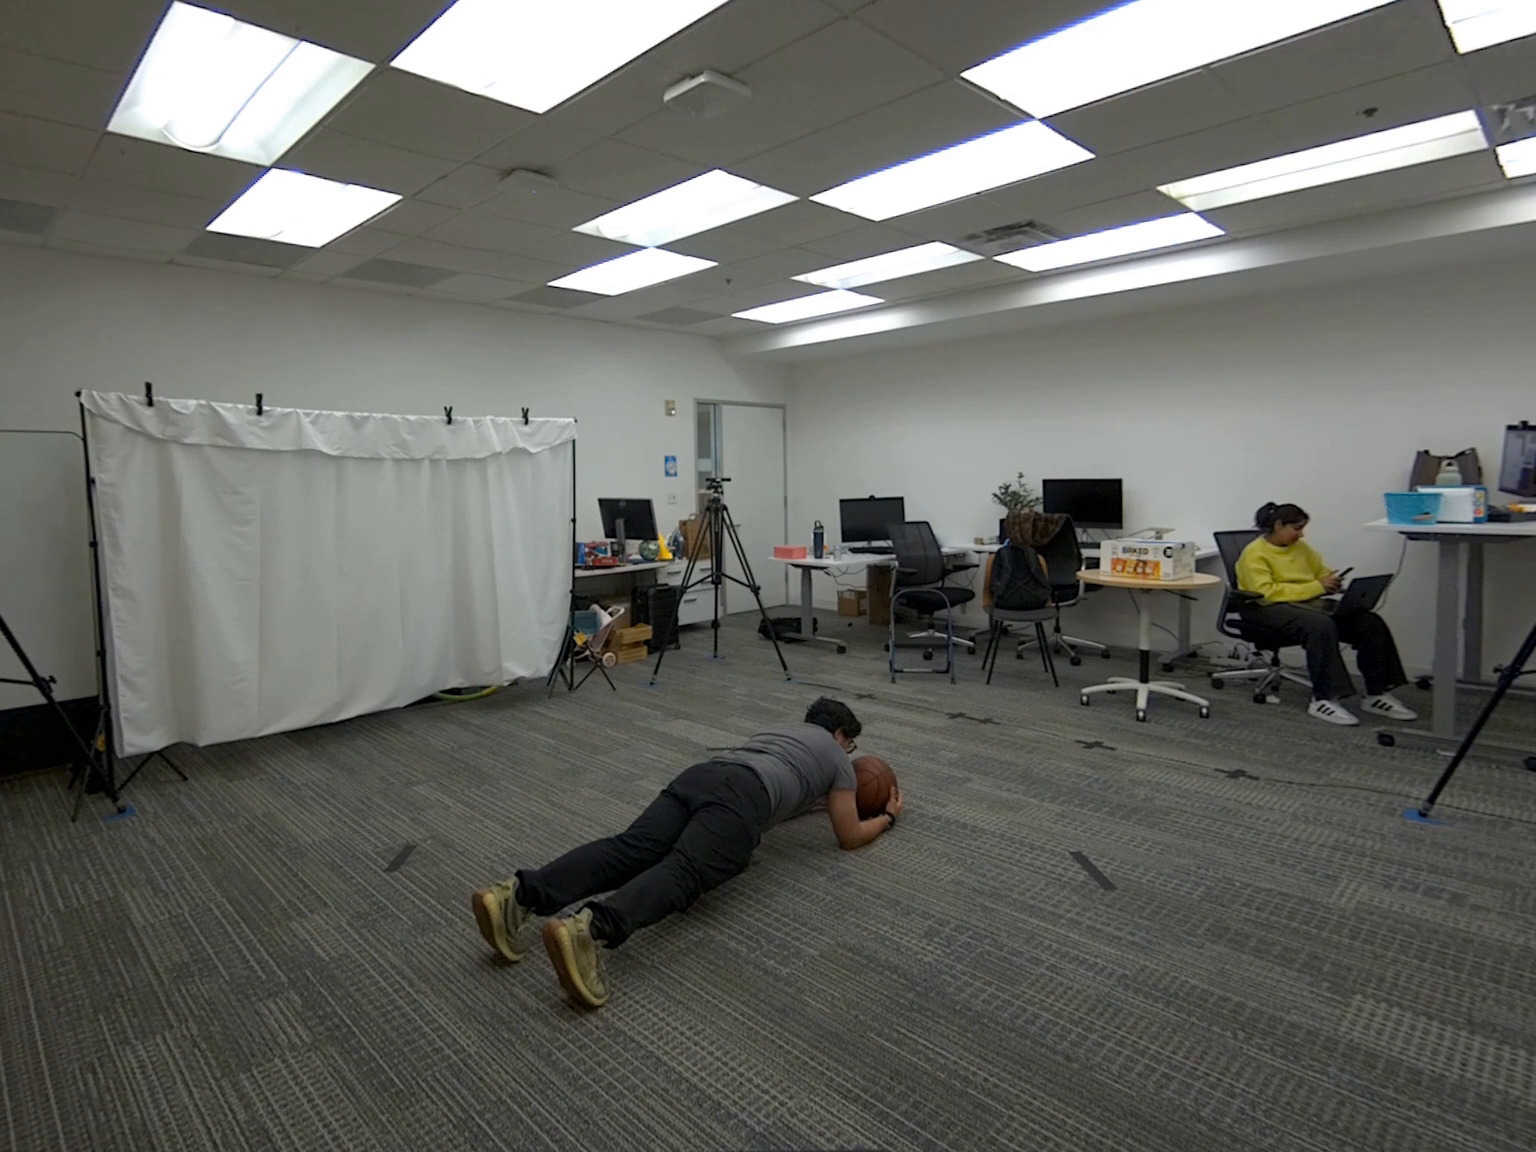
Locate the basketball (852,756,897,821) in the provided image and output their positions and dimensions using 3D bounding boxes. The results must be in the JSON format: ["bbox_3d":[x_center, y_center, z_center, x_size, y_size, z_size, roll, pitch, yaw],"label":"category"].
[{"bbox_3d":[0.409,0.861,3.520,0.236,0.235,0.237,-1,5,-2],"label":"basketball"}]
